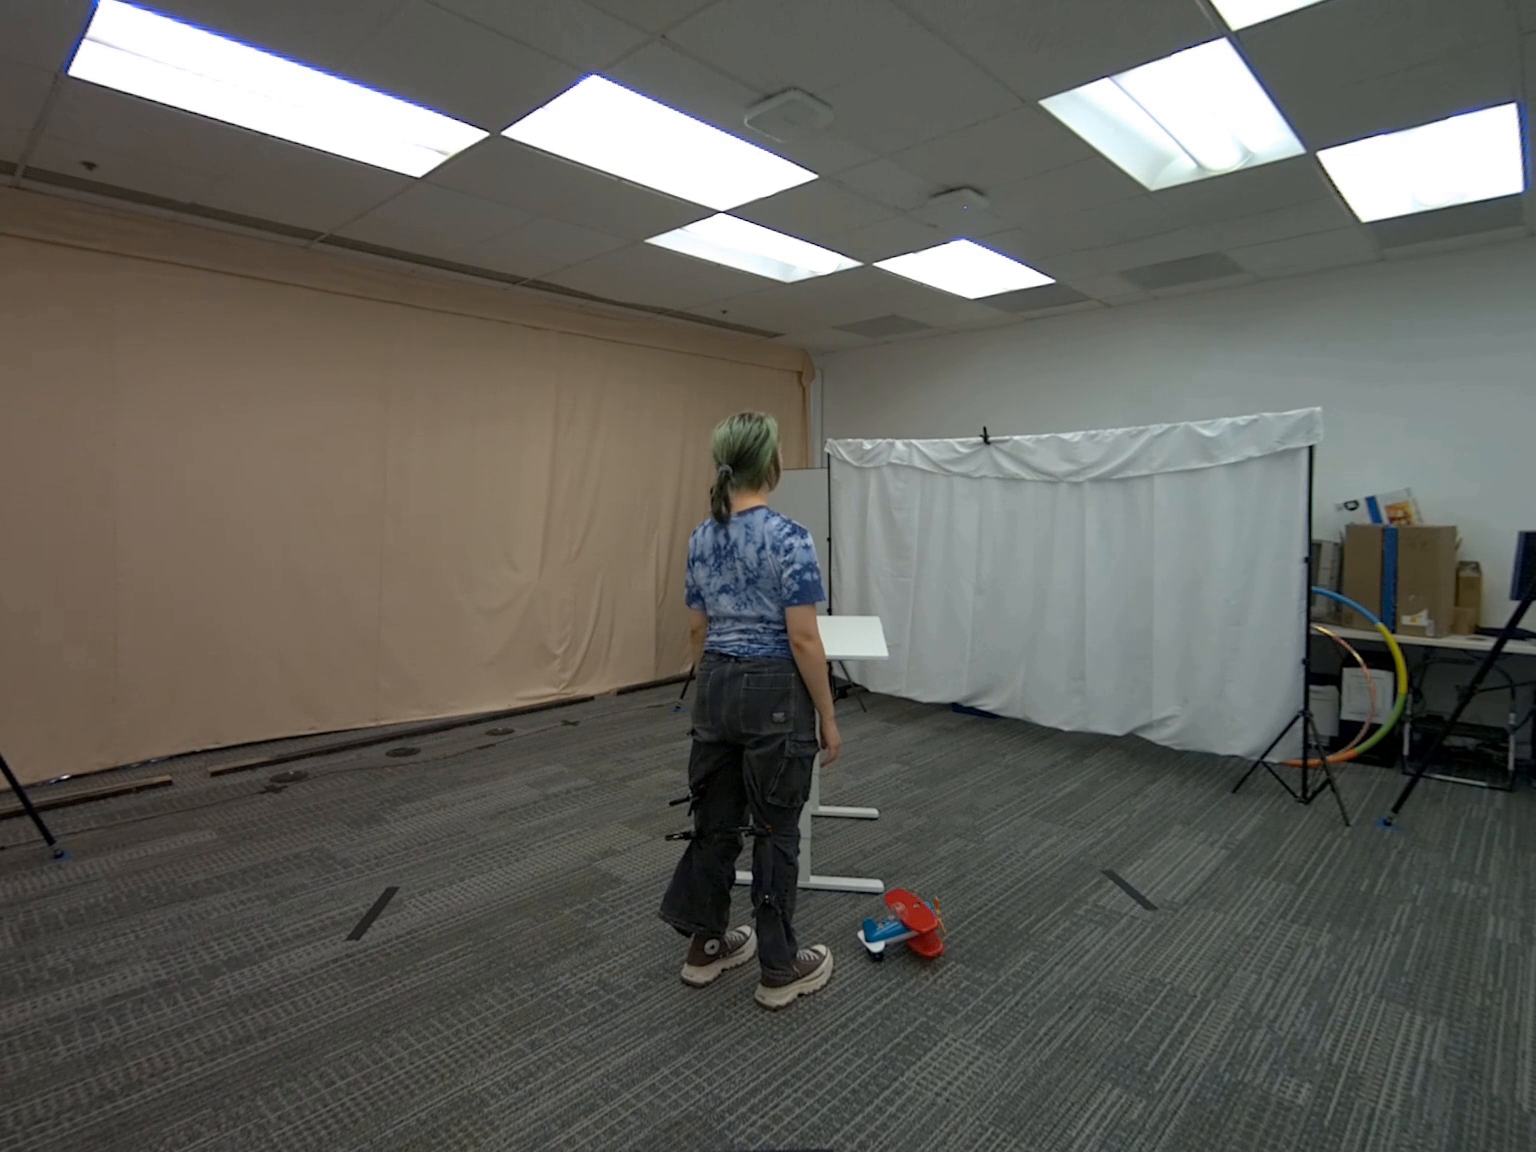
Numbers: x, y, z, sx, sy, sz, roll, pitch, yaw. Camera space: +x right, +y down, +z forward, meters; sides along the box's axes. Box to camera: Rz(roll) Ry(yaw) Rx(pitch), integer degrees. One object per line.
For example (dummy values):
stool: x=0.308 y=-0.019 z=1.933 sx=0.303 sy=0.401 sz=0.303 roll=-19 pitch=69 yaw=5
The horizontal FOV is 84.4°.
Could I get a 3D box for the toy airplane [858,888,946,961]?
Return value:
toy airplane: x=0.427 y=1.104 z=2.592 sx=0.251 sy=0.156 sz=0.259 roll=-4 pitch=6 yaw=-44
